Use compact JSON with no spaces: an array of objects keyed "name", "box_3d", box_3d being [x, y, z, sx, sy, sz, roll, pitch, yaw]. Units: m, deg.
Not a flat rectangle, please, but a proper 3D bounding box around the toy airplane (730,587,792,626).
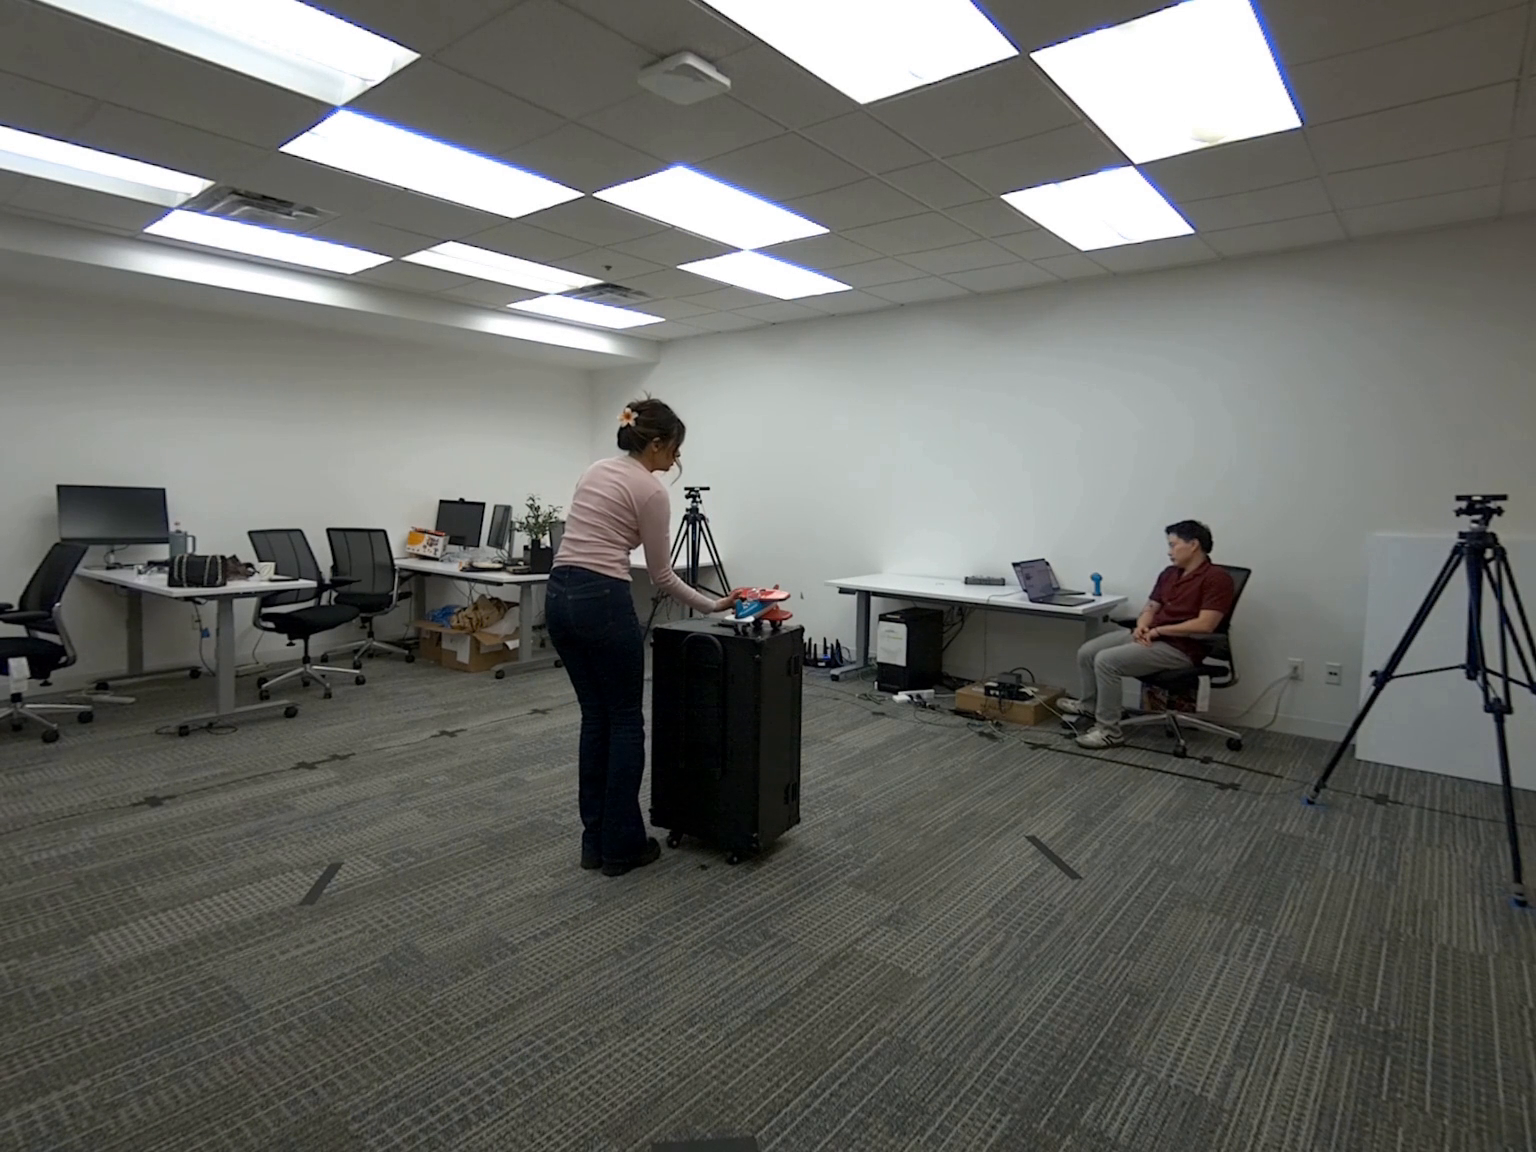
[{"name":"toy airplane","box_3d":[-0.041,0.136,3.239,0.253,0.156,0.258,0,5,6]}]
